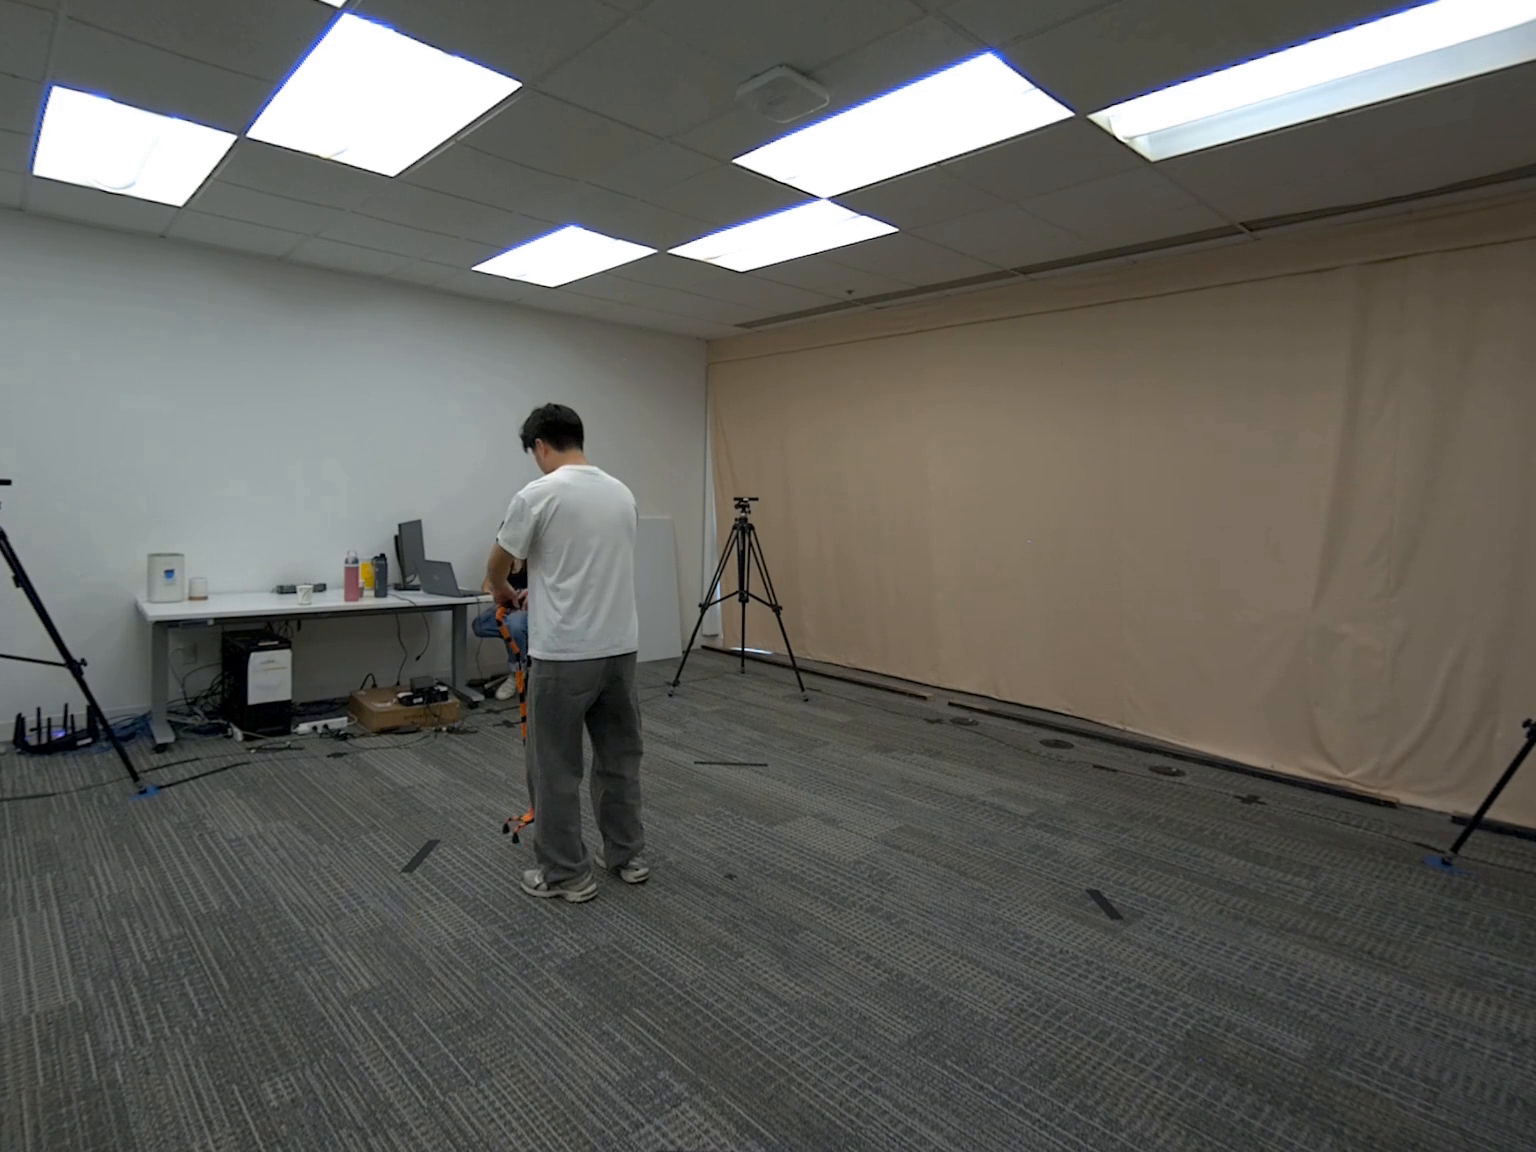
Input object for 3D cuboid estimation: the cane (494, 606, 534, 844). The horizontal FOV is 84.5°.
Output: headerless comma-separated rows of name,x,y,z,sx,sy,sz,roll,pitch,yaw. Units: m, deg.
cane,-0.952,0.570,3.245,0.202,0.905,0.155,-5,5,-36
